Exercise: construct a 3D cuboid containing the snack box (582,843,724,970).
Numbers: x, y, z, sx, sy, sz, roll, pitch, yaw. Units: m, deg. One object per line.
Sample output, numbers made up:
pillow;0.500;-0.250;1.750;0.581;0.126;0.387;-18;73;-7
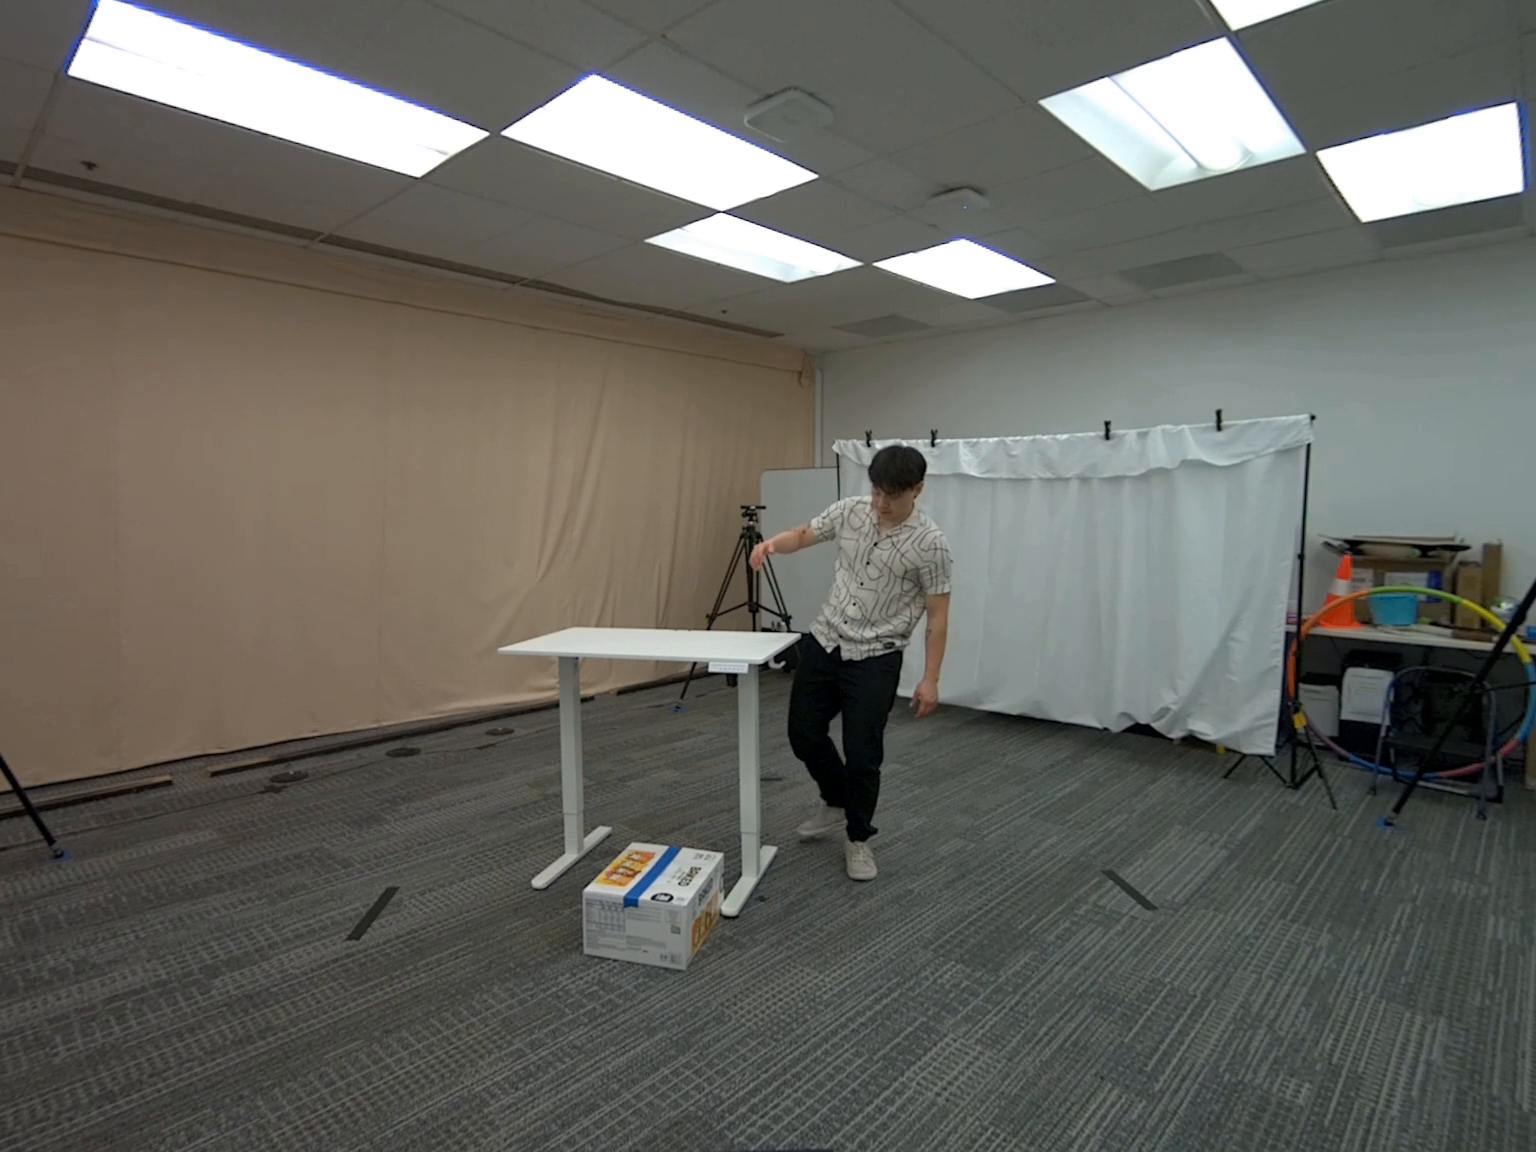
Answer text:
snack box;-0.361;1.065;2.745;0.346;0.205;0.399;0;4;16
